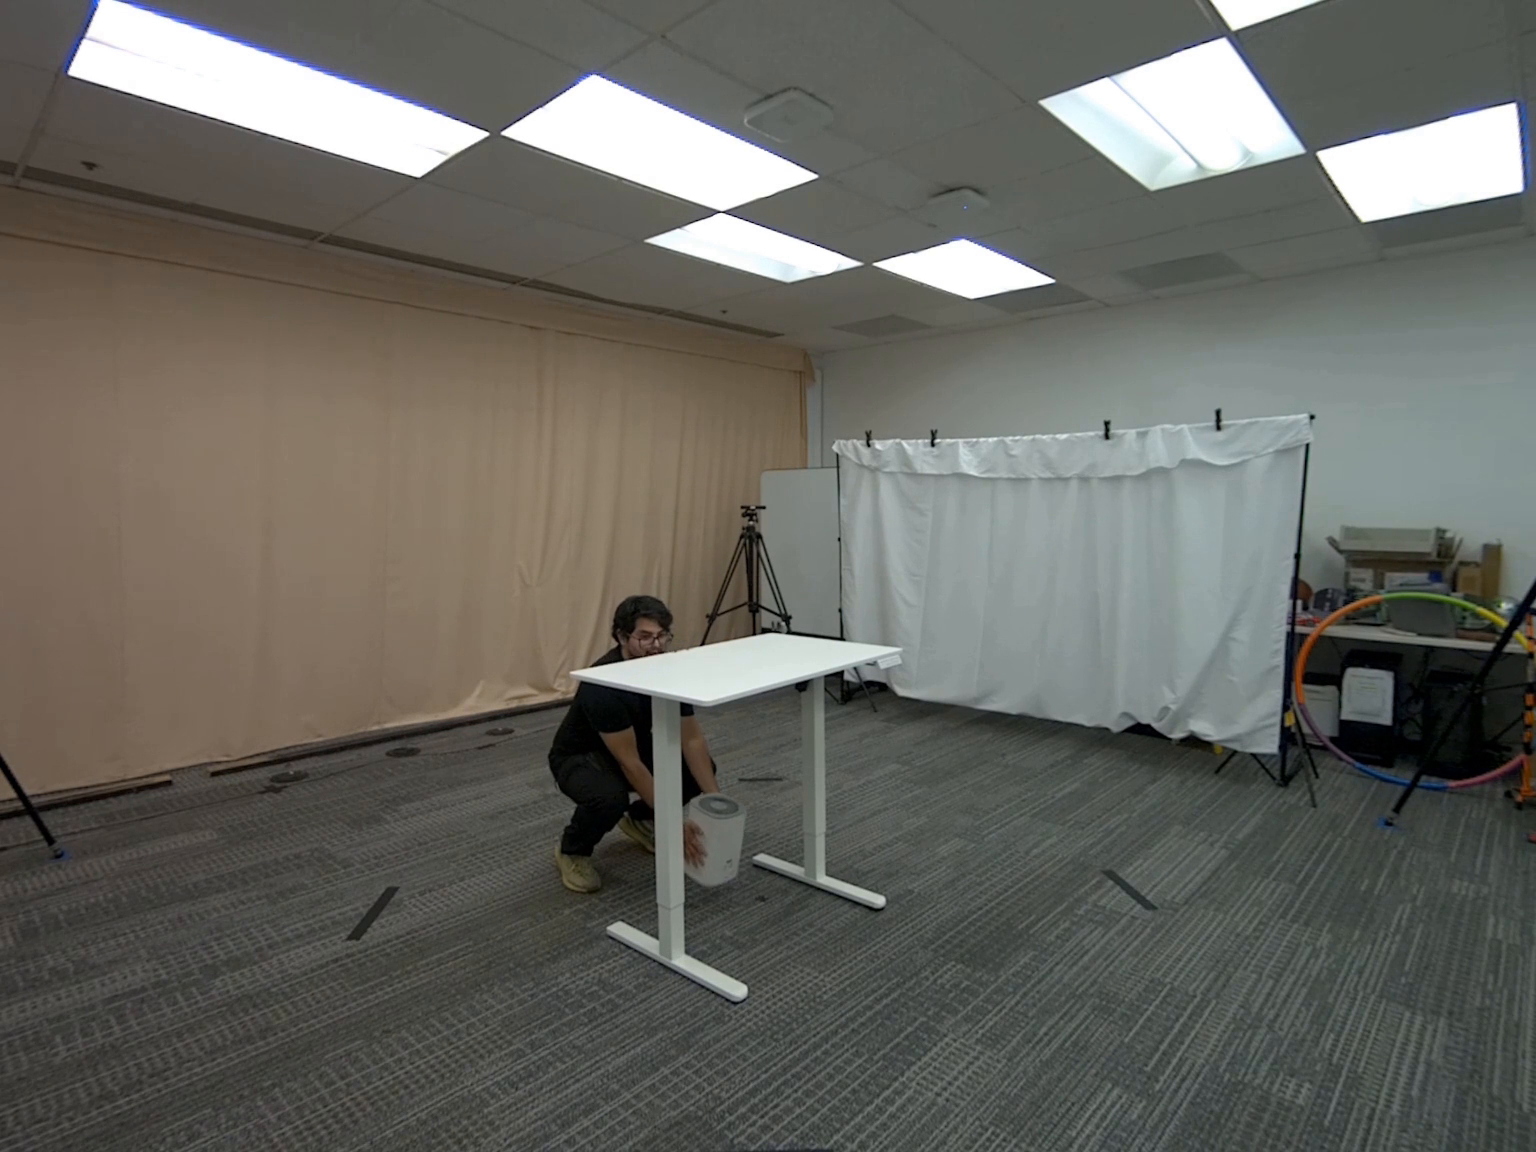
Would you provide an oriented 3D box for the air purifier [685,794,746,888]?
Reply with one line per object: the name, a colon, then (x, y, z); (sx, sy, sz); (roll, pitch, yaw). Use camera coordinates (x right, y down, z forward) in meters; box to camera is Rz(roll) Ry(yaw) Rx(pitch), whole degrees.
air purifier: (-0.189, 0.921, 2.935); (0.178, 0.264, 0.166); (17, 13, 39)
